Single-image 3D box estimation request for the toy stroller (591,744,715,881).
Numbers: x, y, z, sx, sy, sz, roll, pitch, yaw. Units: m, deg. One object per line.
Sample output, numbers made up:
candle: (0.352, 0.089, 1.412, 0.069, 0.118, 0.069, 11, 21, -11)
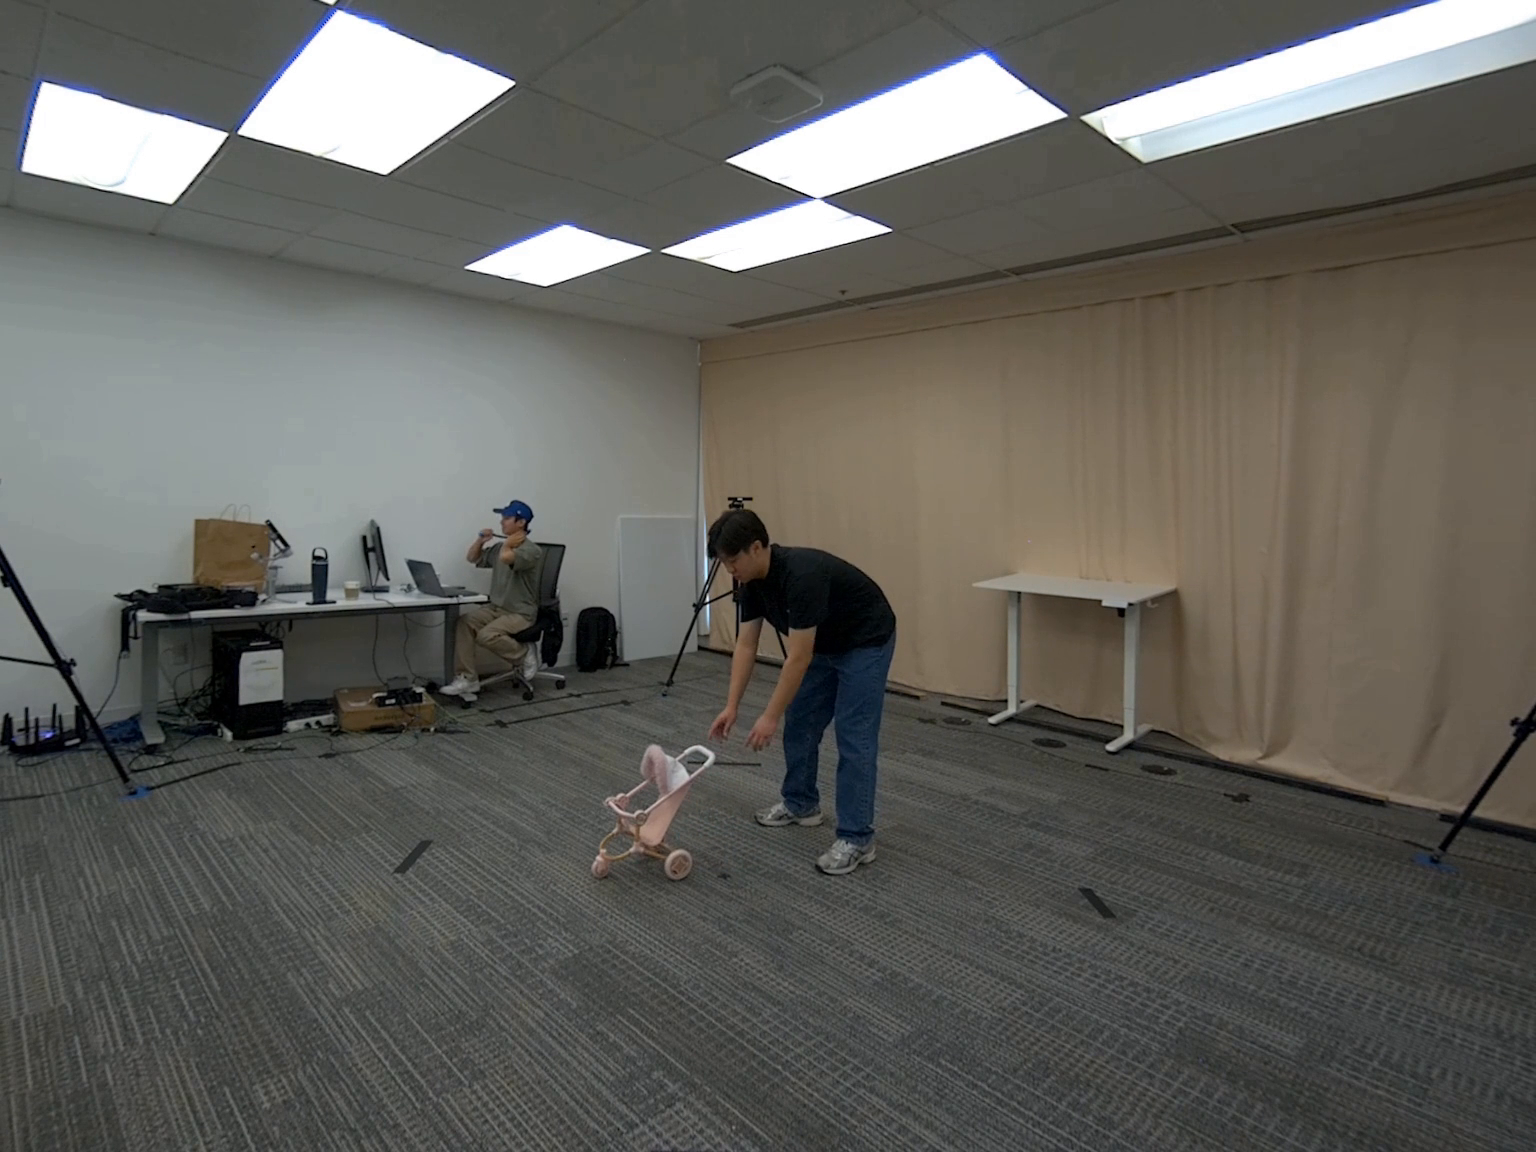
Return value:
toy stroller: (-0.449, 0.876, 3.139, 0.334, 0.536, 0.287, 17, -3, -23)
